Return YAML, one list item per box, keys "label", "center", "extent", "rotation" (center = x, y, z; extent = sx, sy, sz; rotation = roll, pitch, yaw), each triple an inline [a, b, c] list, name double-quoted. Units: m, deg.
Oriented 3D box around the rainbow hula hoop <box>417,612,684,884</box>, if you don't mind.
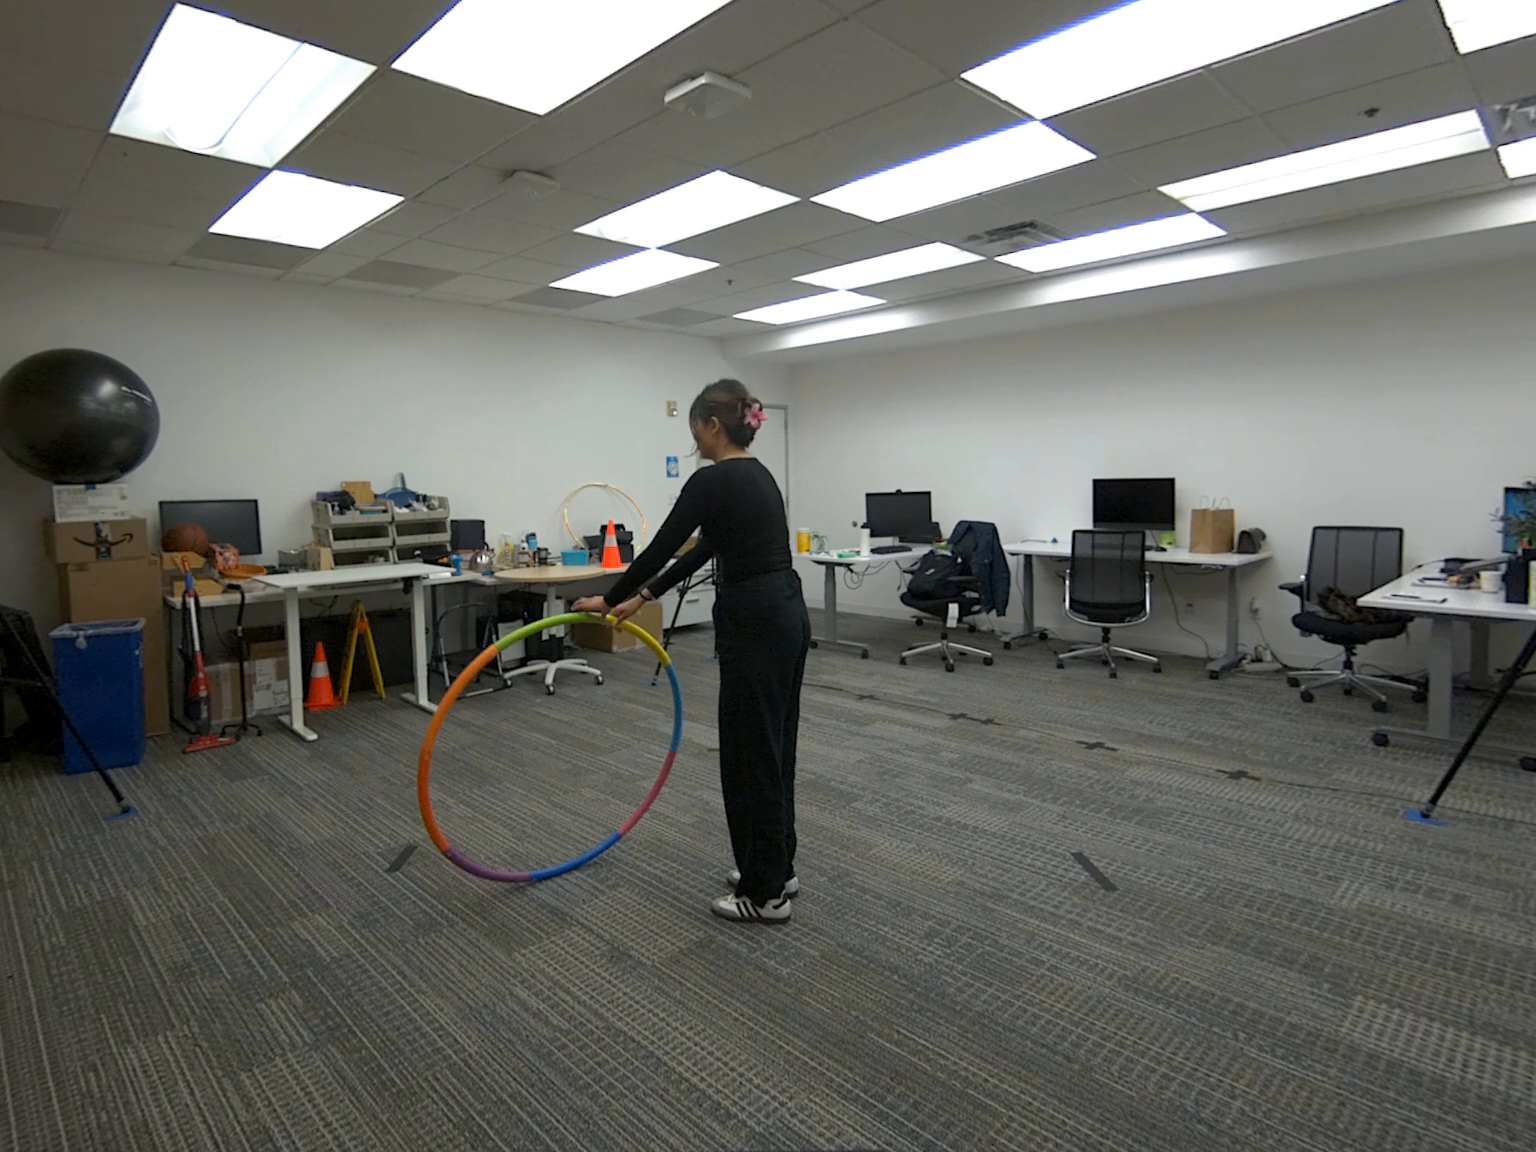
- label: "rainbow hula hoop"
  center: [-0.698, 0.598, 2.947]
  extent: [0.953, 0.969, 0.037]
  rotation: [-5, 16, -39]
